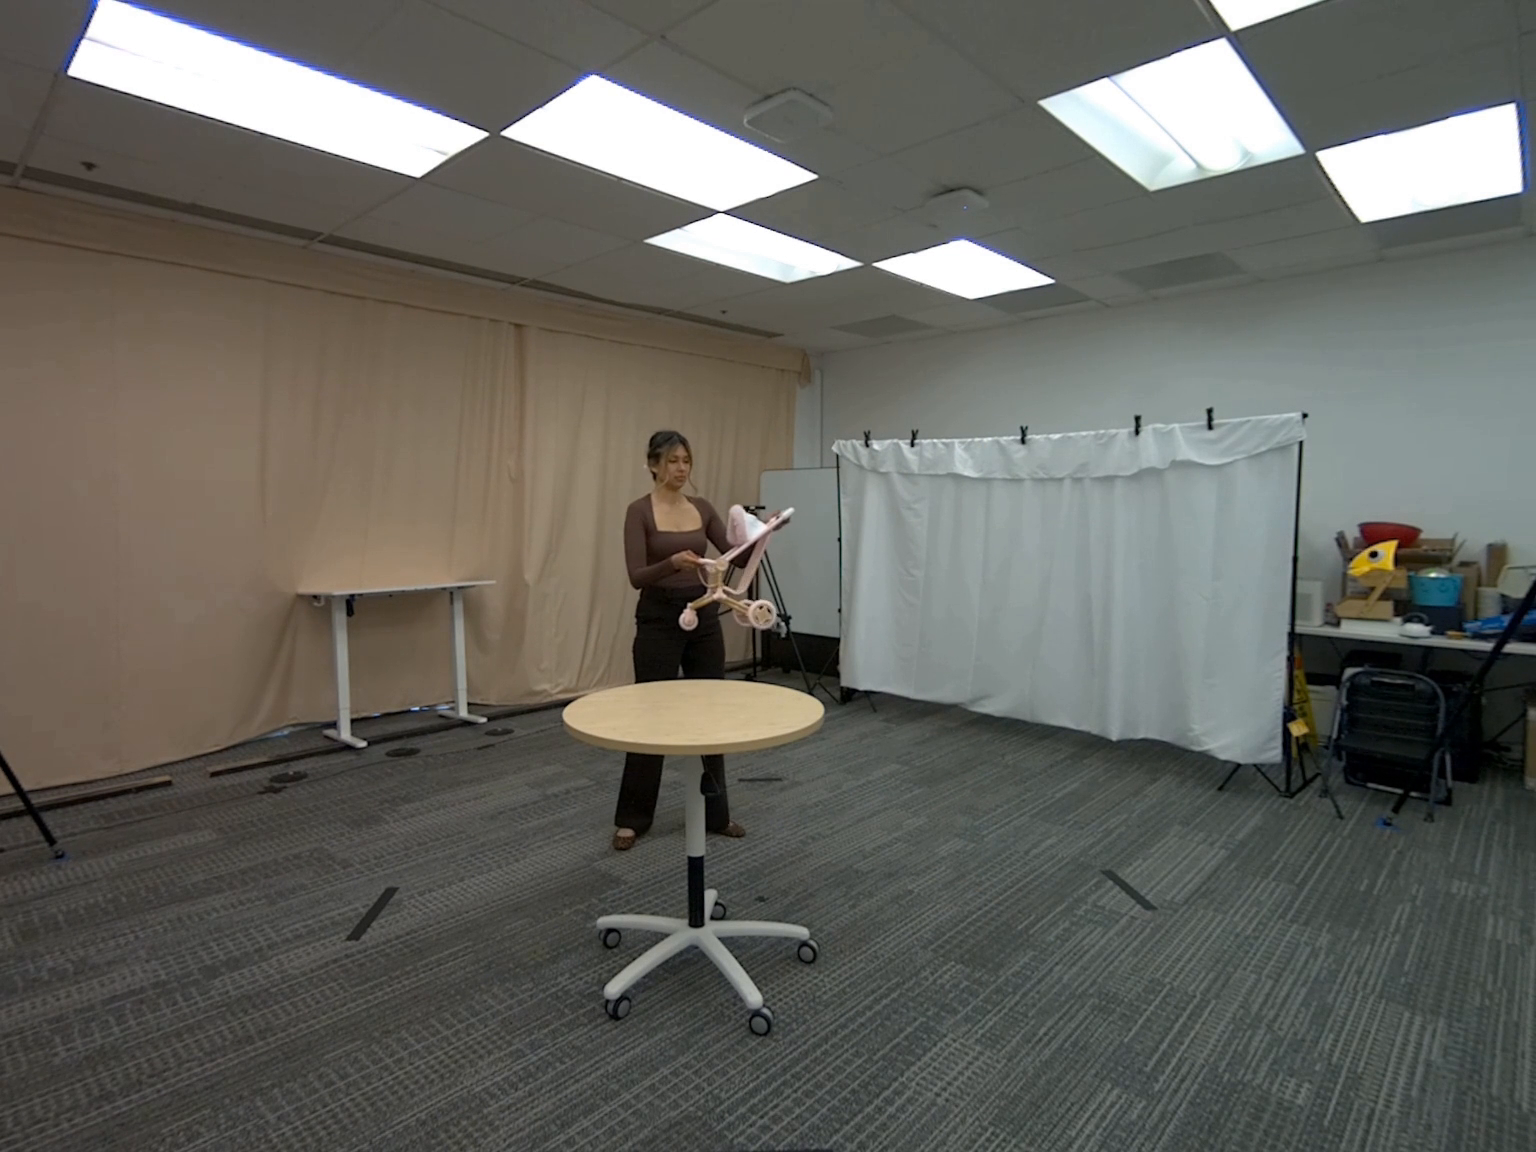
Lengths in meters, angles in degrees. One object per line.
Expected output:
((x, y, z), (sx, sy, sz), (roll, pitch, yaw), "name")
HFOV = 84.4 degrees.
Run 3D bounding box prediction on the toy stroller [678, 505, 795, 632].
((-0.128, -0.029, 3.203), (0.339, 0.536, 0.283), (12, -6, -7), "toy stroller")
